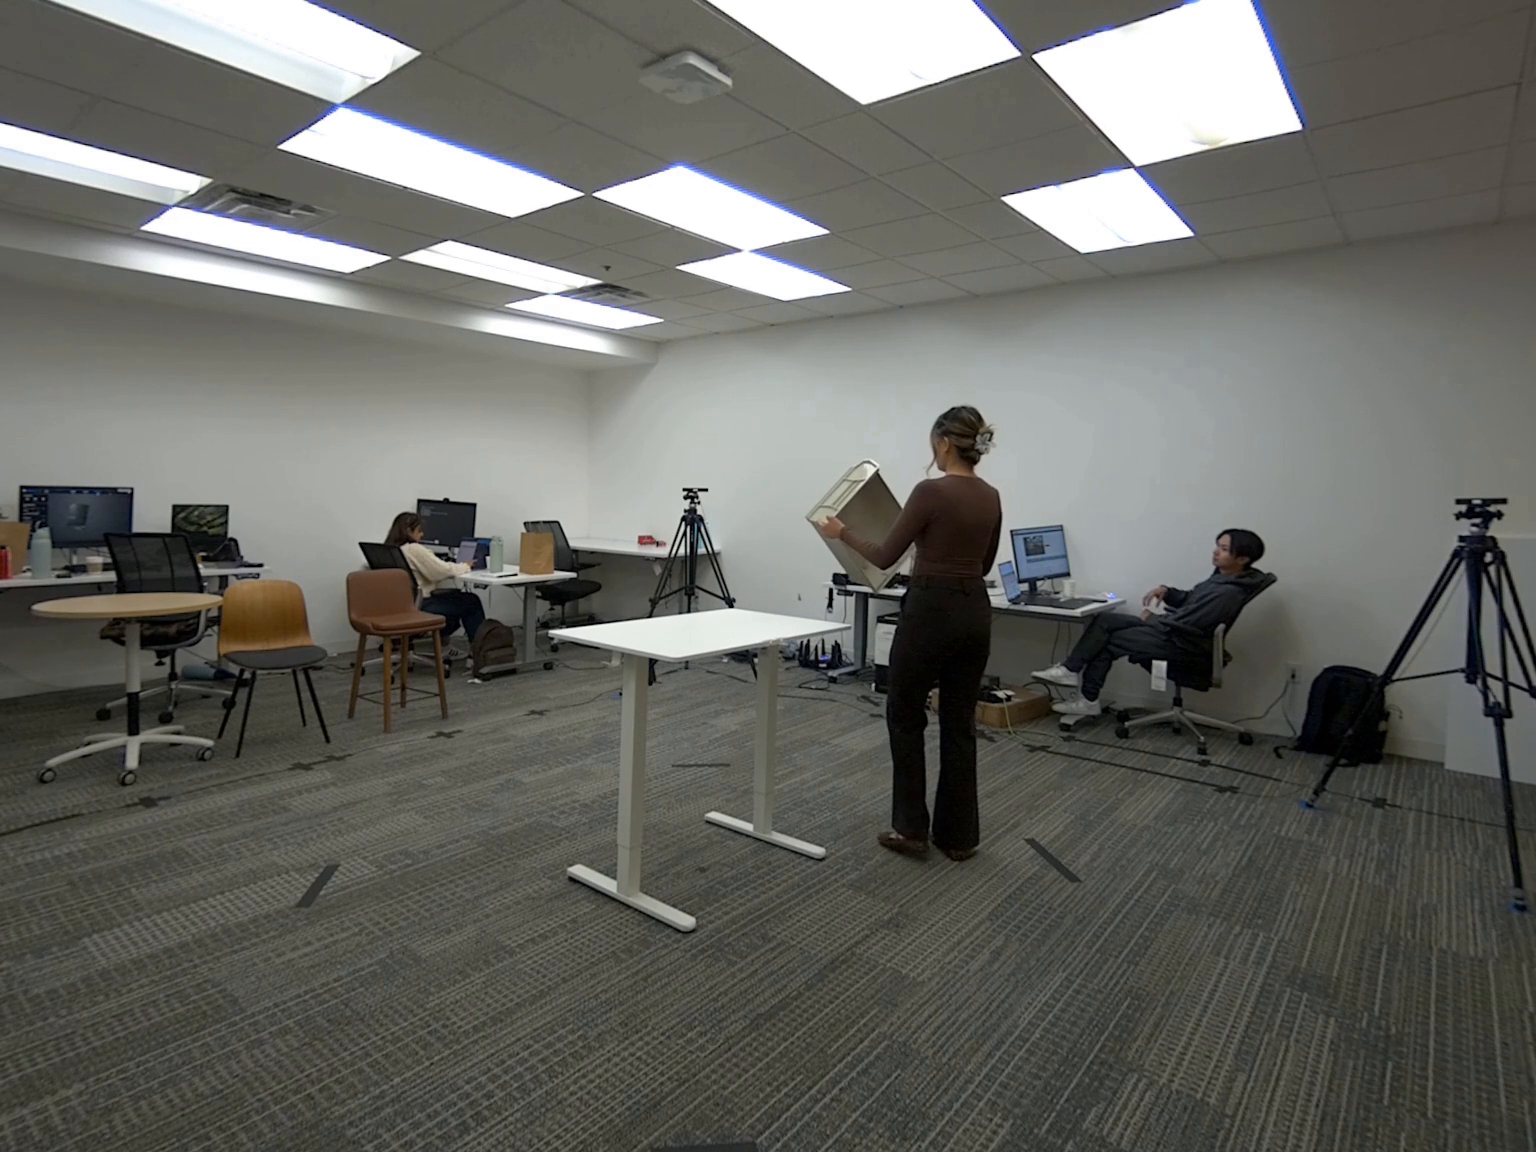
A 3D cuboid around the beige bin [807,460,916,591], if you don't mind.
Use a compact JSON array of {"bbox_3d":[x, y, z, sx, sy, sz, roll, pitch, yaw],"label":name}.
[{"bbox_3d":[0.417,-0.220,3.619,0.377,0.409,0.195,-46,26,-16],"label":"beige bin"}]
